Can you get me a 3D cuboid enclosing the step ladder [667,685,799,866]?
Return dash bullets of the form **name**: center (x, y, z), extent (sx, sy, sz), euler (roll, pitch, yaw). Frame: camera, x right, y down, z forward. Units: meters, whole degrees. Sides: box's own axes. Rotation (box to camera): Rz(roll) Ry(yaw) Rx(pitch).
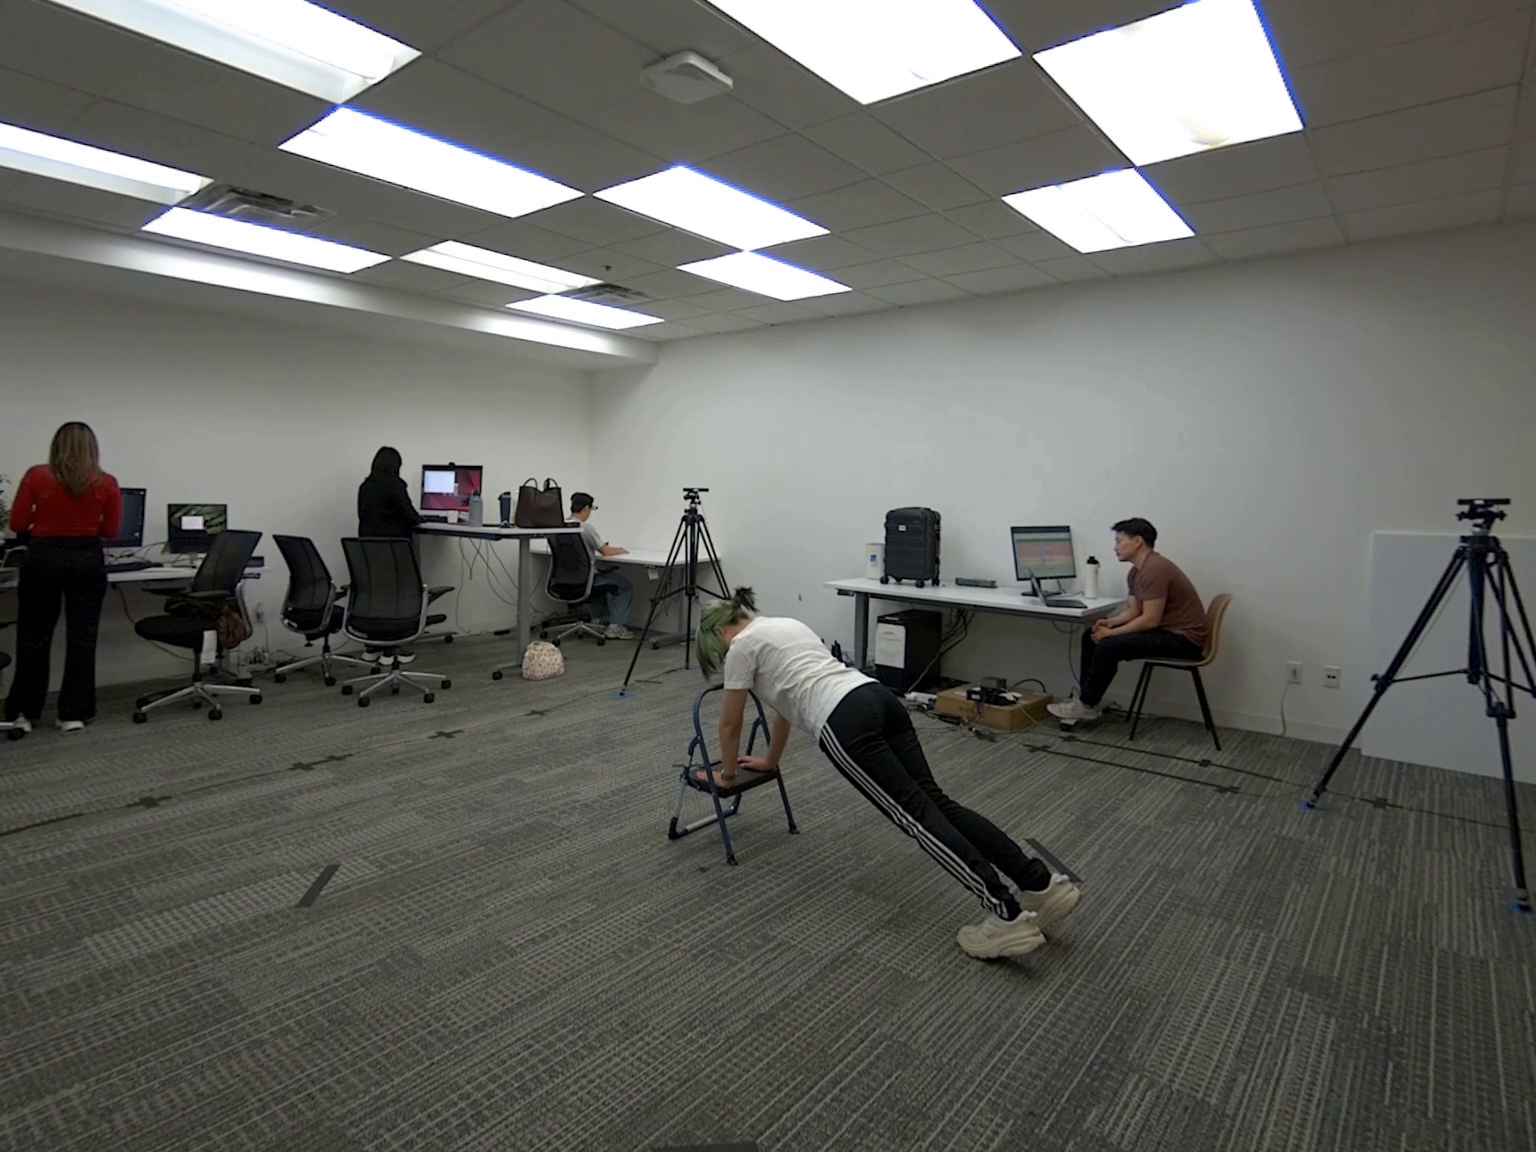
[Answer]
- **step ladder**: center (-0.143, 0.740, 3.402), extent (0.361, 0.604, 0.418), euler (4, 4, 38)
